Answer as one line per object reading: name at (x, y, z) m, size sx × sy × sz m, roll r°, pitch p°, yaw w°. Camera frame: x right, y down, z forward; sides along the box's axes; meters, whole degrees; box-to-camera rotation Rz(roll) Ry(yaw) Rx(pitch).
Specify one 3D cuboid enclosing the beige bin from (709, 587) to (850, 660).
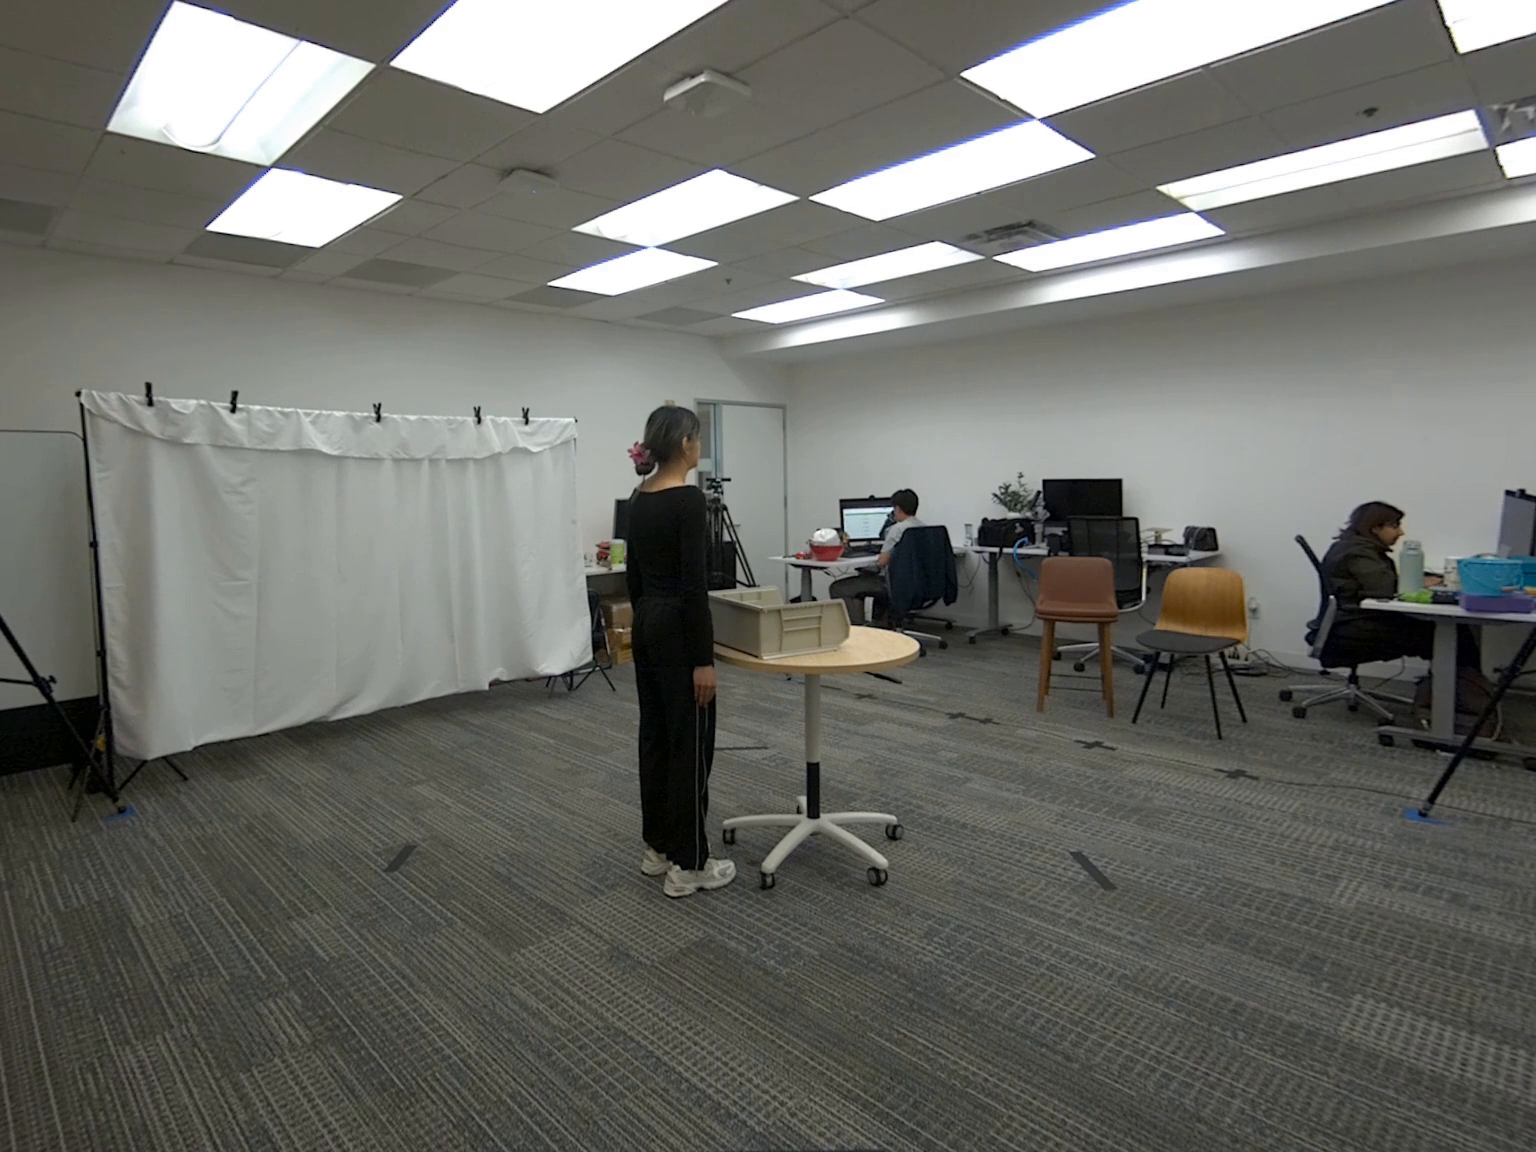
beige bin at (0.024, 0.158, 3.086) m, size 0.368 × 0.188 × 0.435 m, roll -6°, pitch 8°, yaw -32°
